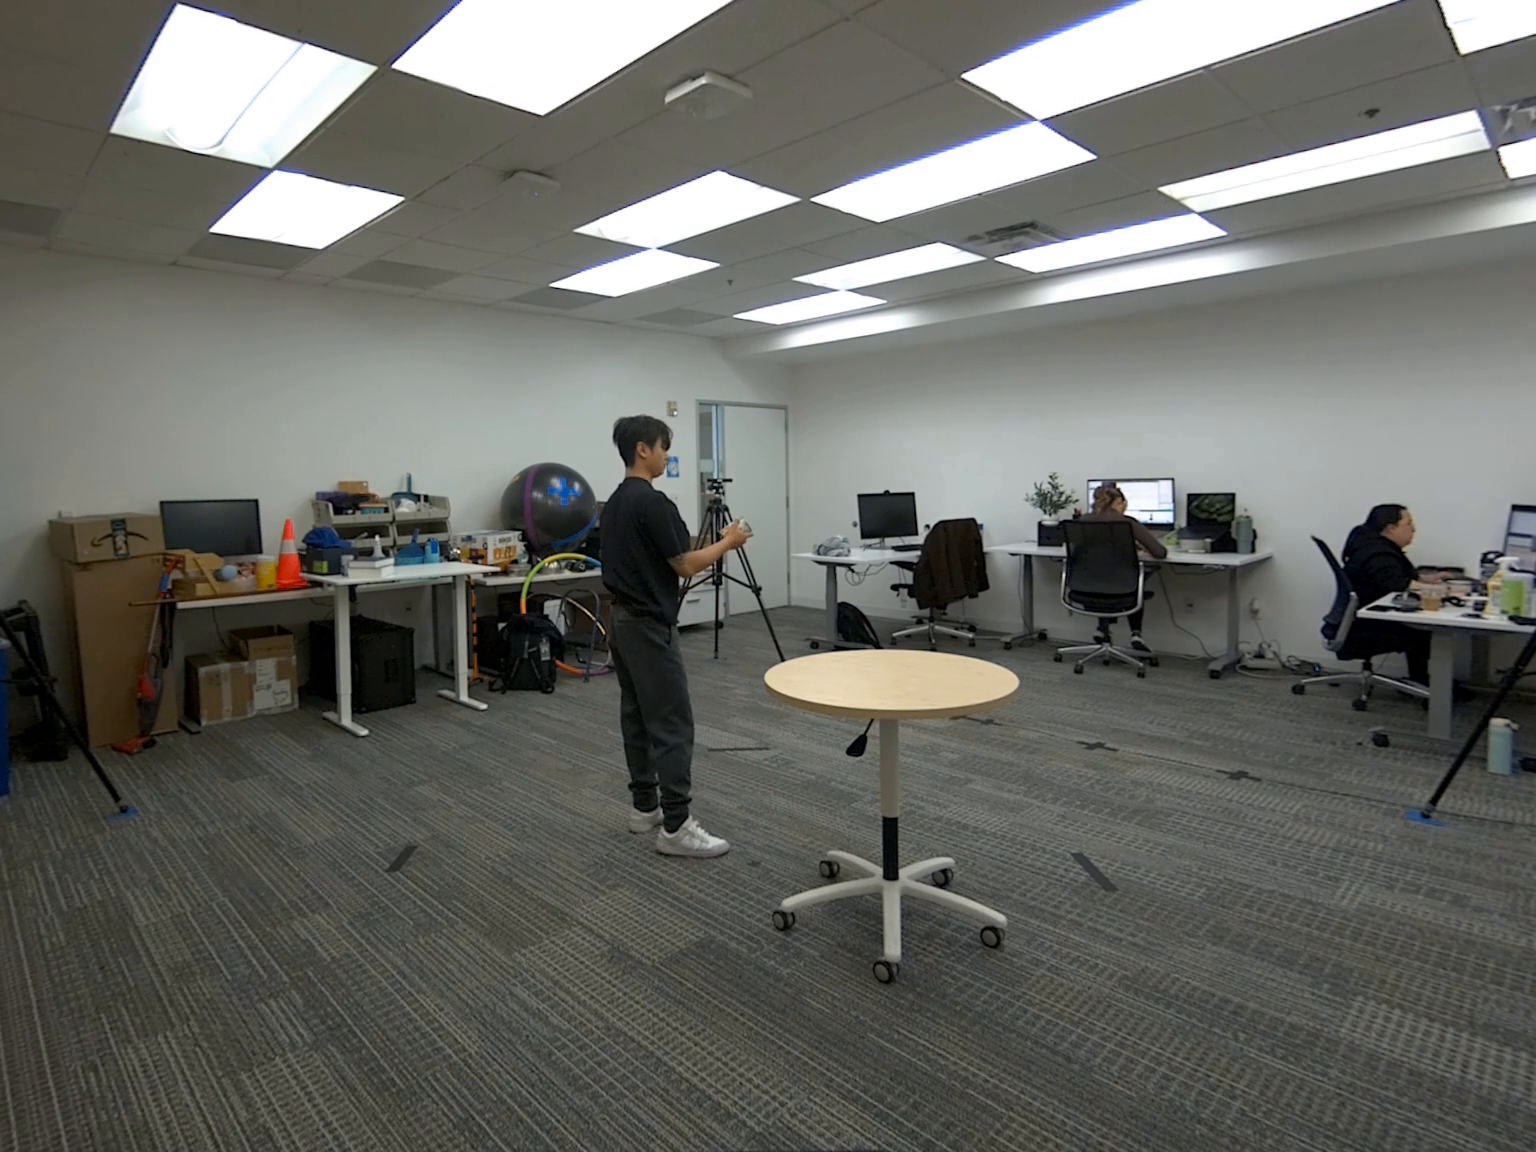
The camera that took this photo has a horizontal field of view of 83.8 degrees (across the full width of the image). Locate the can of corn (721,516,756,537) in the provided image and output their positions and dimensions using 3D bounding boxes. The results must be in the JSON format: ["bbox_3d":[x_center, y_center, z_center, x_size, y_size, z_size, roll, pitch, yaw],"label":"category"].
[{"bbox_3d":[-0.122,-0.186,3.453,0.111,0.074,0.075,-23,6,-3],"label":"can of corn"}]
